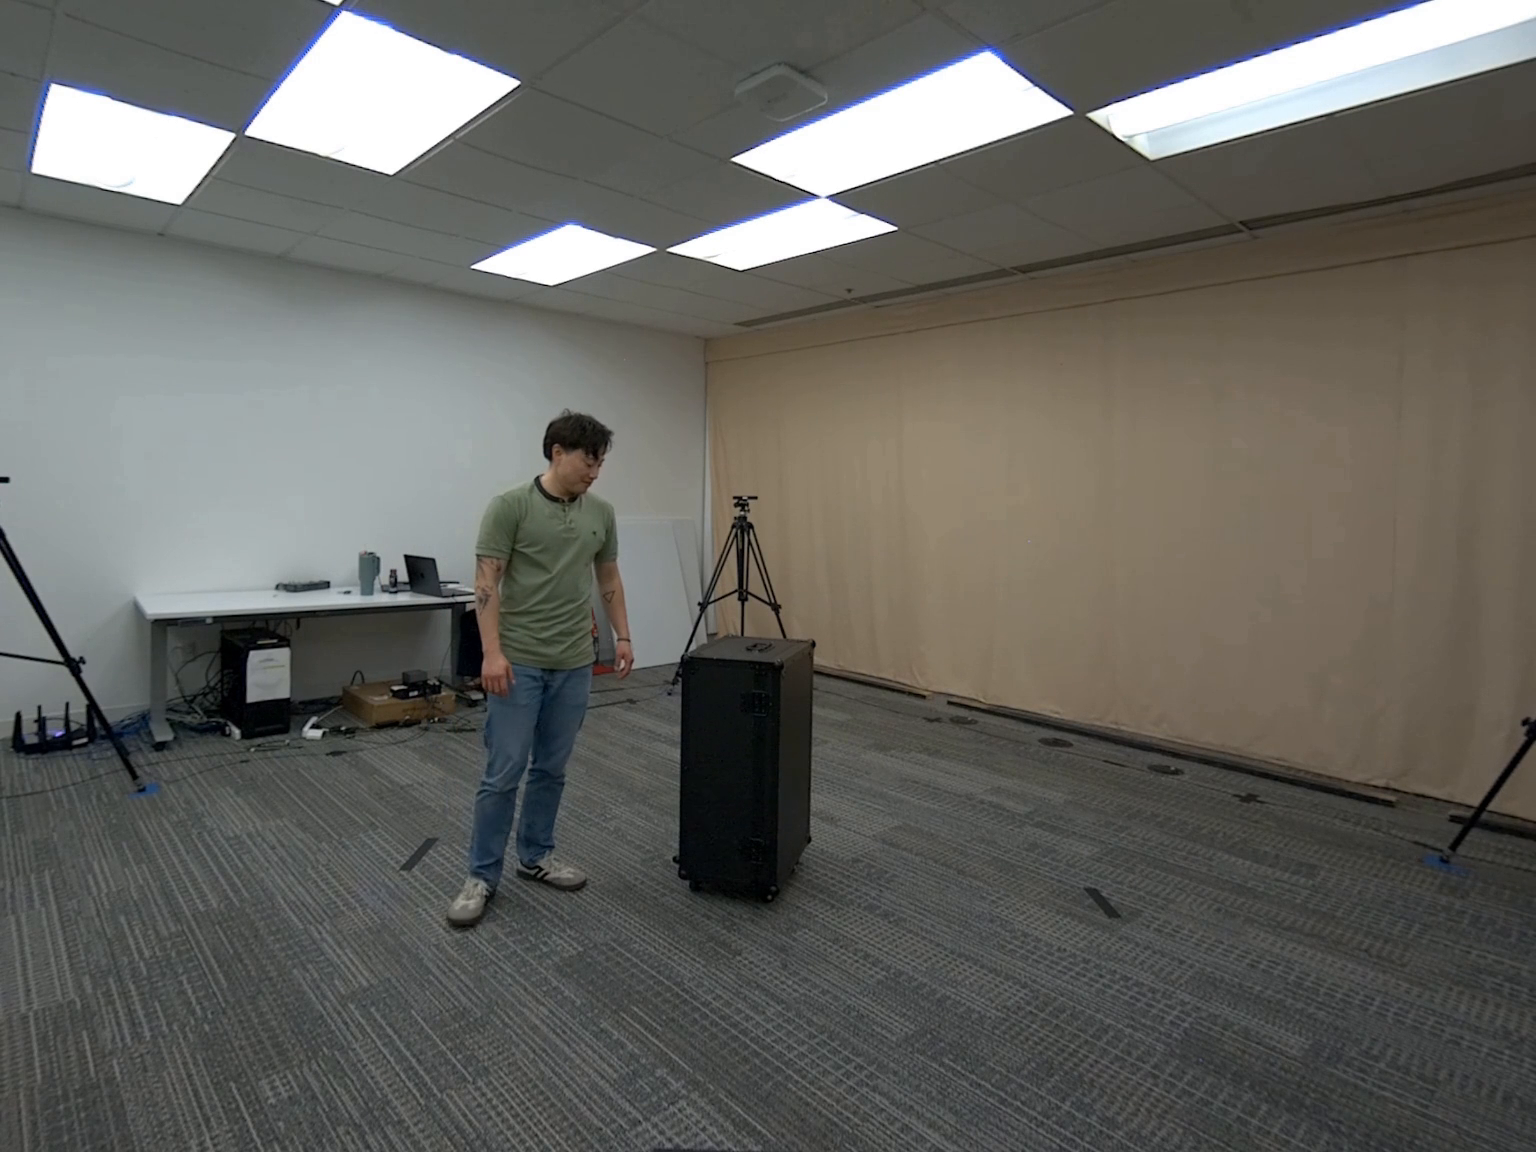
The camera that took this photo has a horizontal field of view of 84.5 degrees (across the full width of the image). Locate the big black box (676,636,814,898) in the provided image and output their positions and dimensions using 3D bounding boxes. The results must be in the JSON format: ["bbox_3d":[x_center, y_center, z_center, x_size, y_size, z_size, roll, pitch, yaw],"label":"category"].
[{"bbox_3d":[-0.079,0.683,3.060,0.402,0.859,0.515,2,4,17],"label":"big black box"}]
